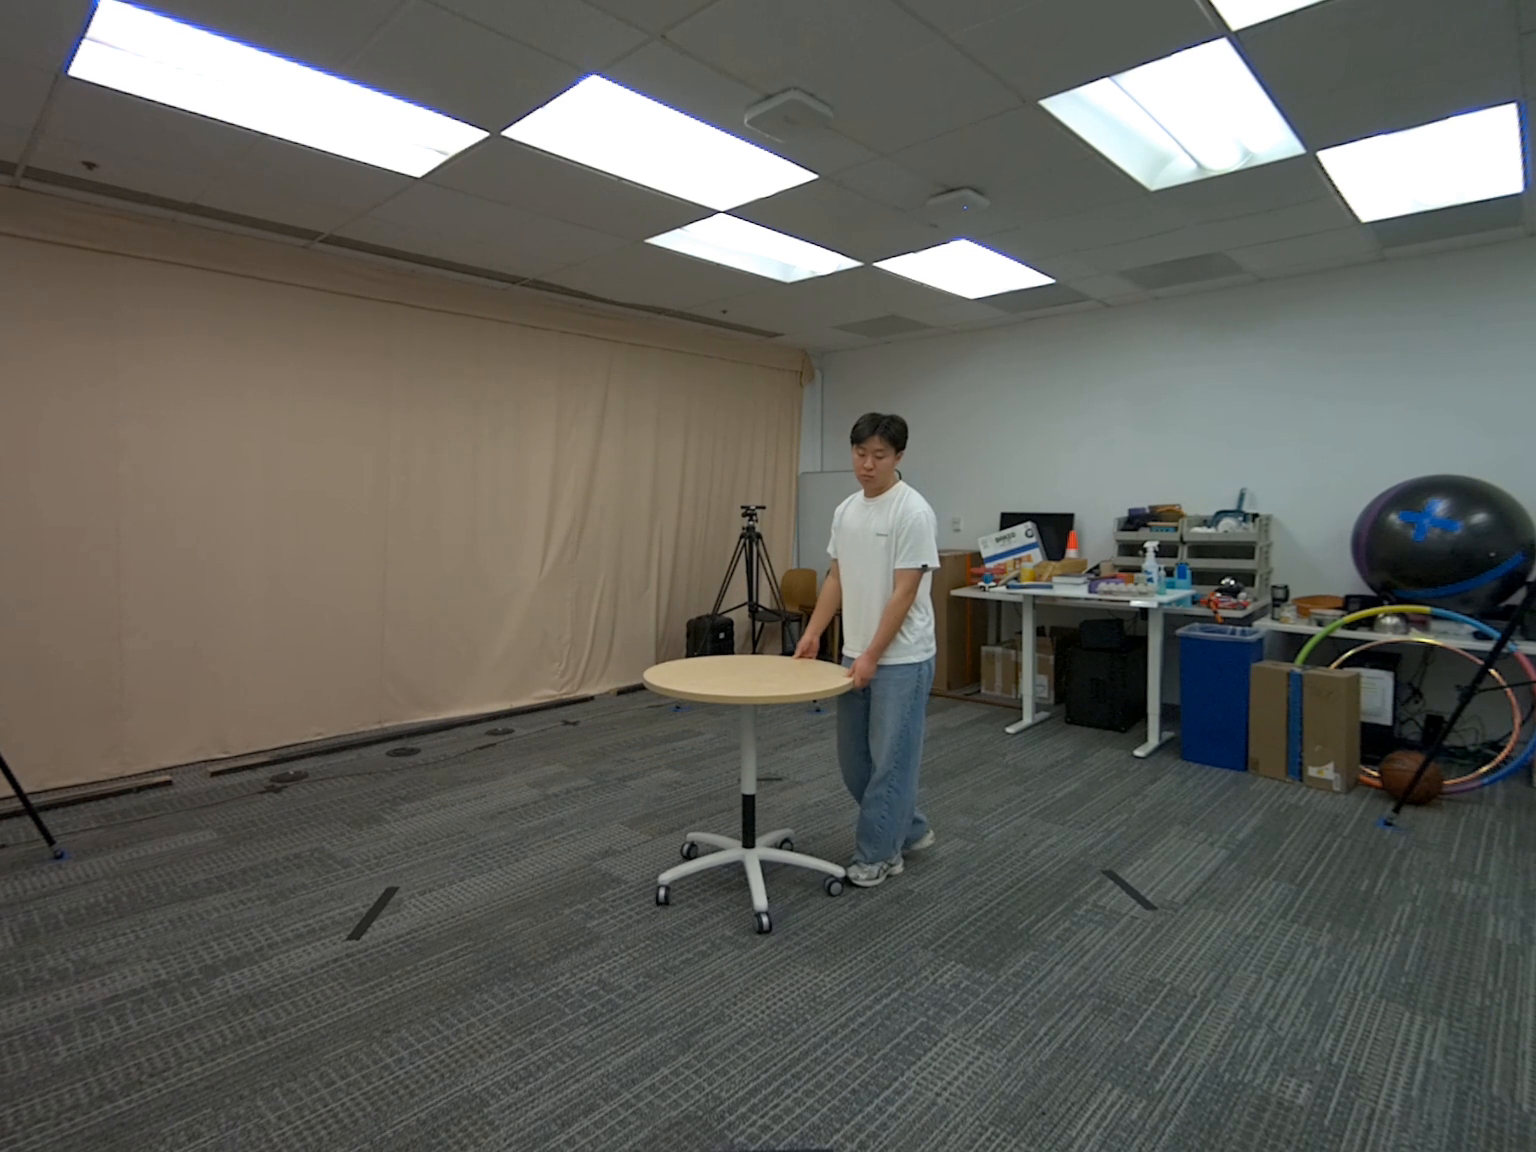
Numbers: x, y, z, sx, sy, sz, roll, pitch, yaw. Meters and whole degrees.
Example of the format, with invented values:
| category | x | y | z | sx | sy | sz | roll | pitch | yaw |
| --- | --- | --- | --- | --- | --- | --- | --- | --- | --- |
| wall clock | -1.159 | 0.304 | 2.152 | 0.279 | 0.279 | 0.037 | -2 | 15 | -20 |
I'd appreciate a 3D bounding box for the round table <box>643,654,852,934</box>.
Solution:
| category | x | y | z | sx | sy | sz | roll | pitch | yaw |
| --- | --- | --- | --- | --- | --- | --- | --- | --- | --- |
| round table | -0.069 | 0.751 | 3.076 | 0.763 | 0.792 | 0.766 | 0 | 3 | -2 |
